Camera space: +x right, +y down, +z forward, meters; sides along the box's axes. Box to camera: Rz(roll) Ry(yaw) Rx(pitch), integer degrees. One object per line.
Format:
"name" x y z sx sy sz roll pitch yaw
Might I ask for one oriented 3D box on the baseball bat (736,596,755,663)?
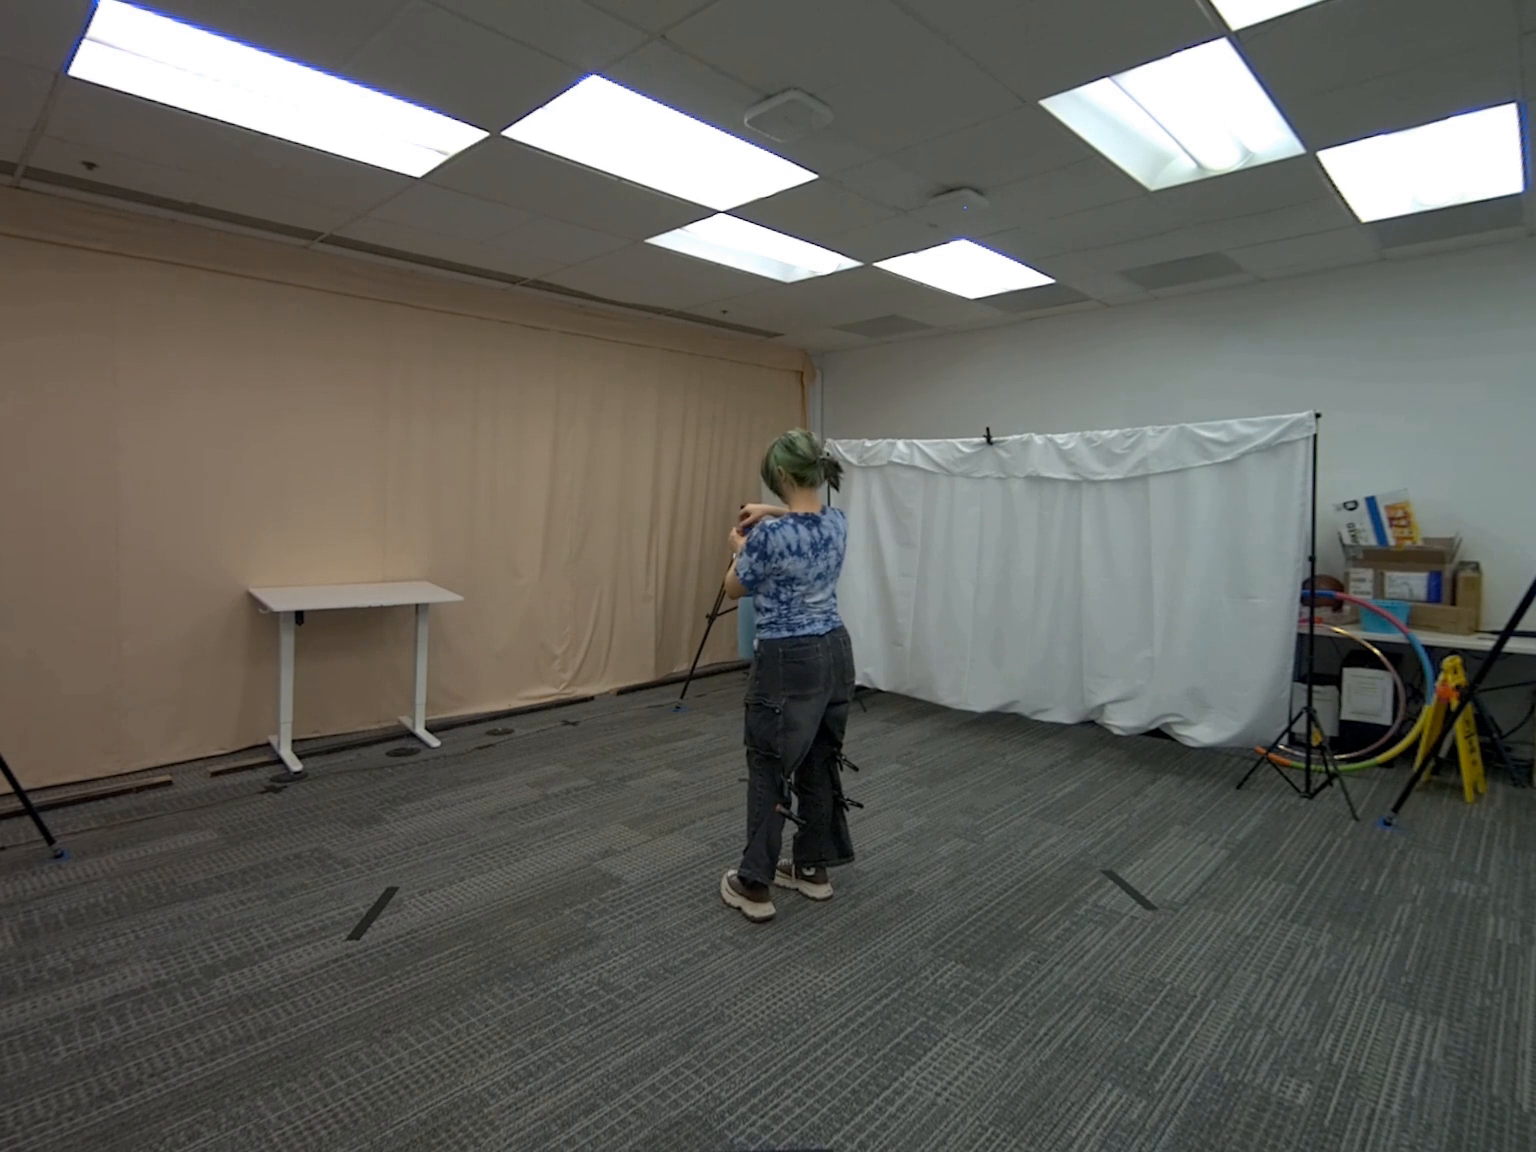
"baseball bat" -0.085 0.054 3.272 0.089 0.542 0.089 1 3 -2
